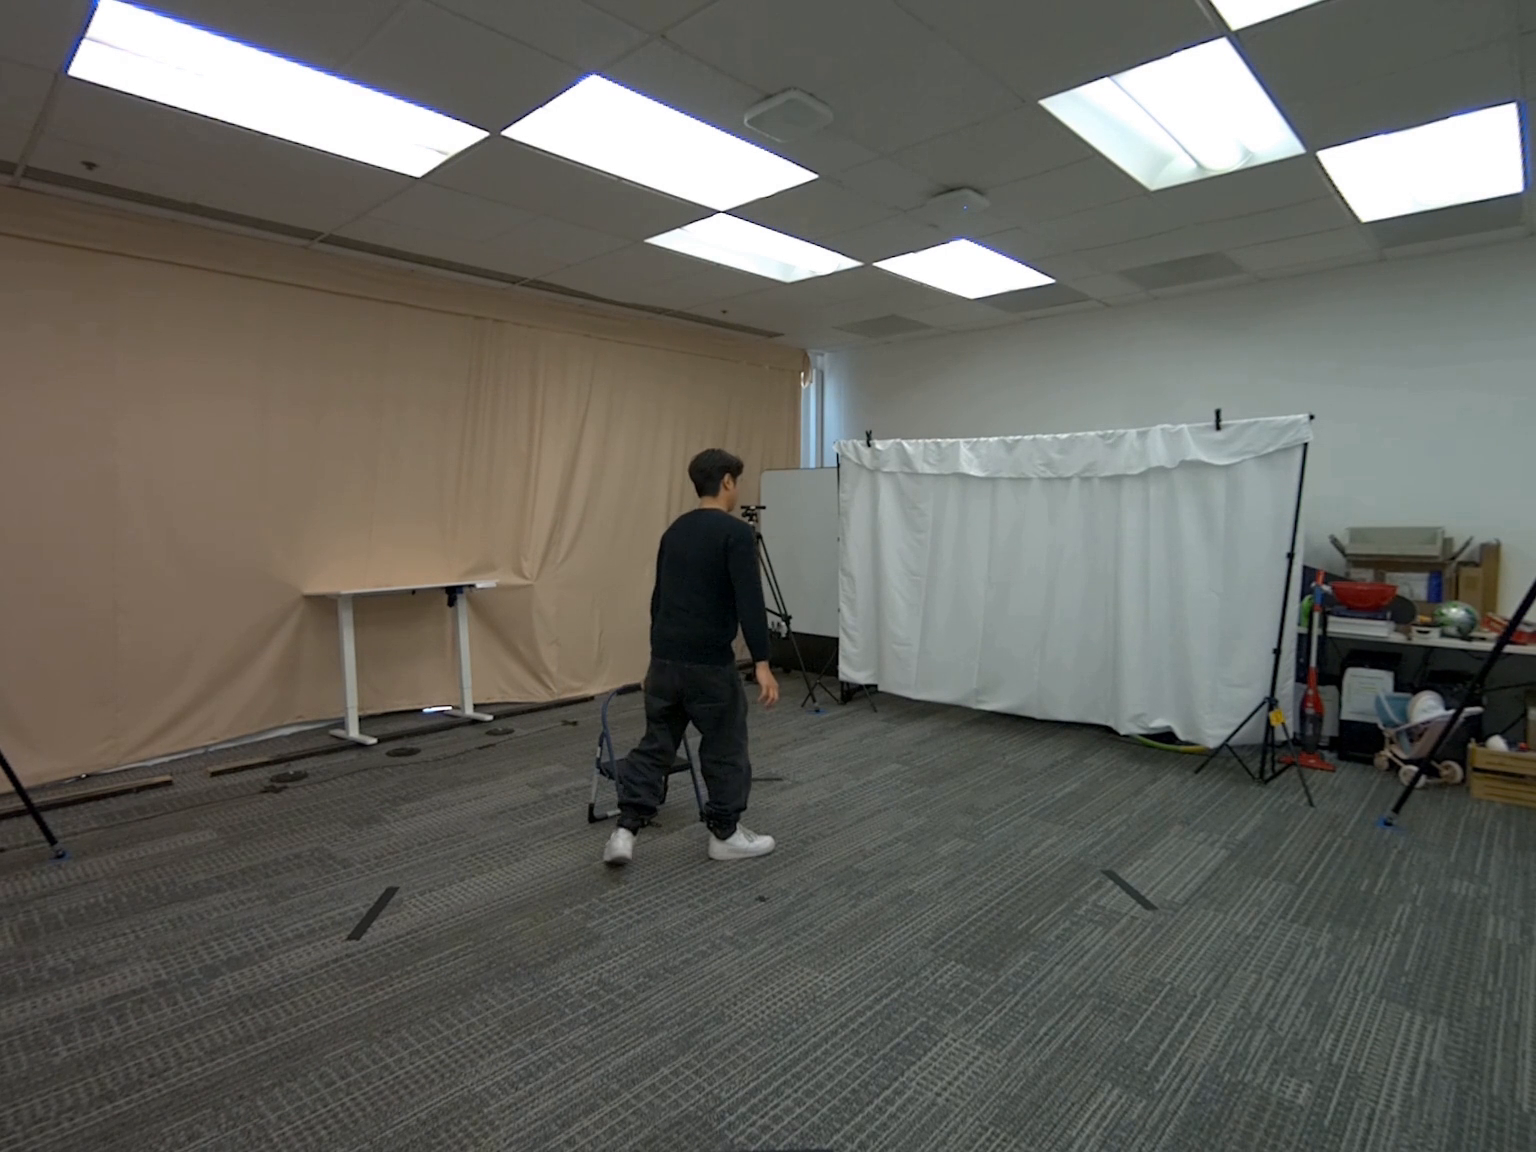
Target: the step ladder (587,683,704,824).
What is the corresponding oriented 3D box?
[{"bbox_3d":[-0.535,0.785,3.709,0.417,0.605,0.361,-3,3,-42],"label":"step ladder"}]
